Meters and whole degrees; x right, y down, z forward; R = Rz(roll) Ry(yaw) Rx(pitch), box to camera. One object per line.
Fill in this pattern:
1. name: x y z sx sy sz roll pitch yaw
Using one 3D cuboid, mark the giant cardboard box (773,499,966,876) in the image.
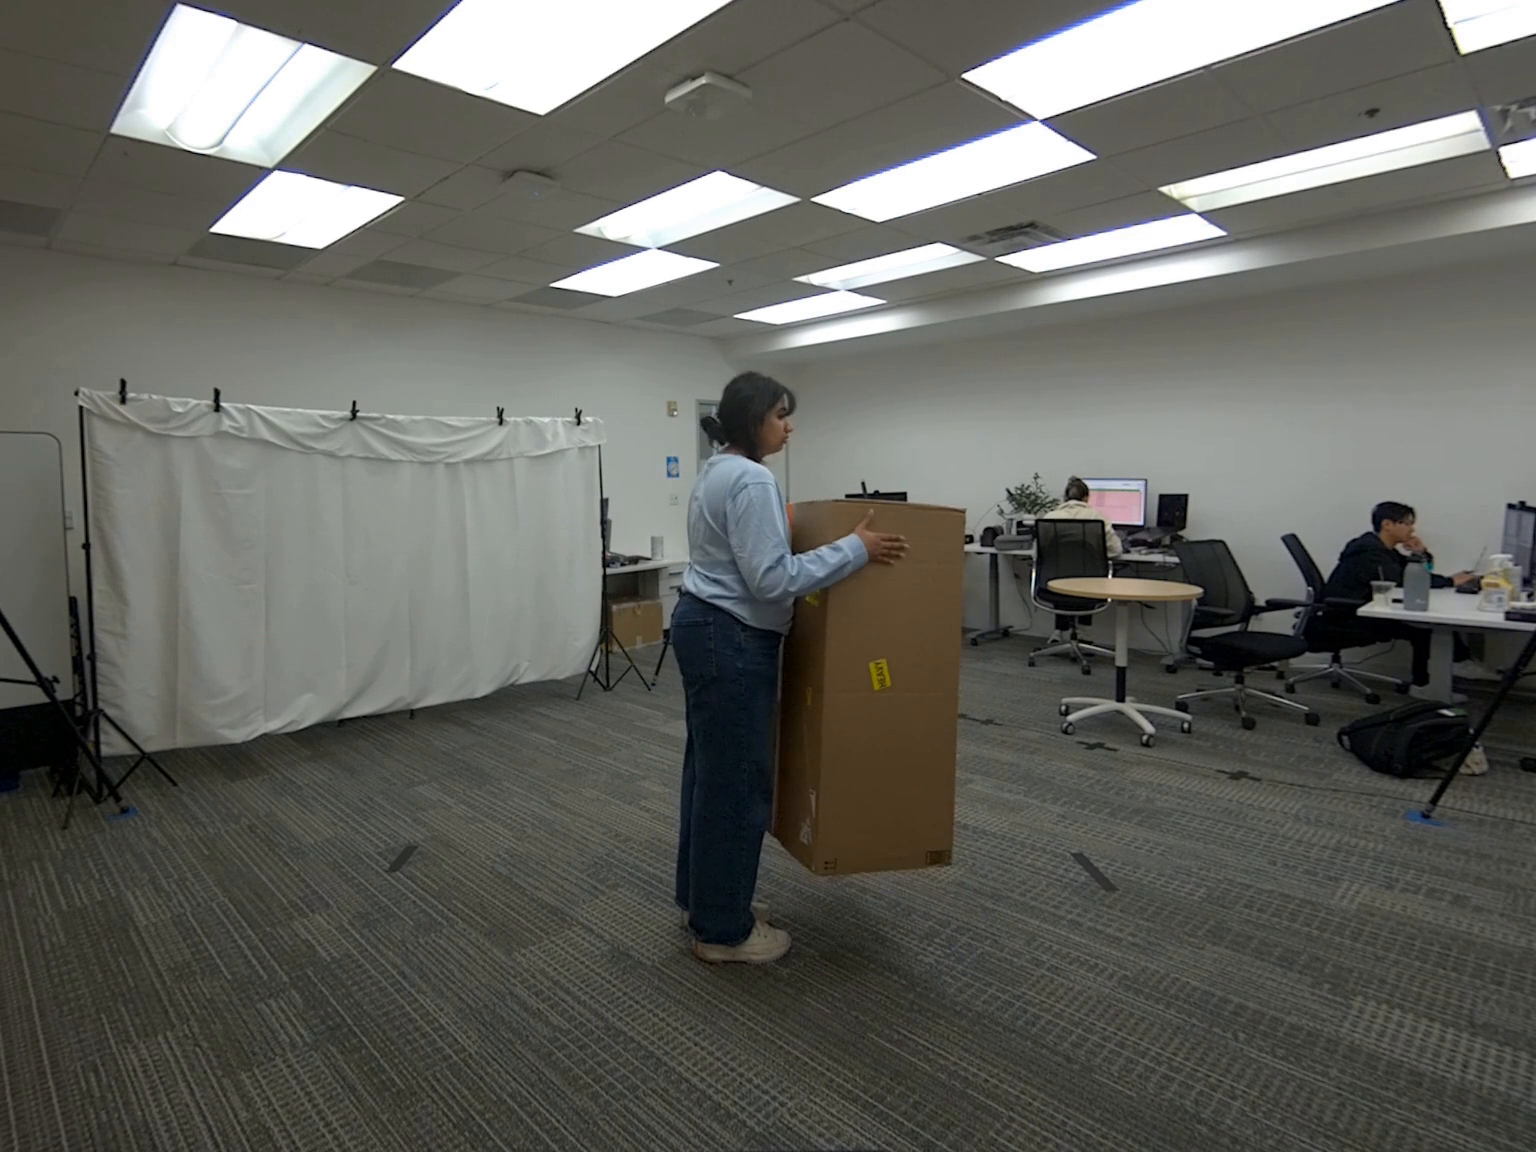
1. giant cardboard box: 0.259 0.304 2.648 0.439 1.028 0.593 2 -1 -17
